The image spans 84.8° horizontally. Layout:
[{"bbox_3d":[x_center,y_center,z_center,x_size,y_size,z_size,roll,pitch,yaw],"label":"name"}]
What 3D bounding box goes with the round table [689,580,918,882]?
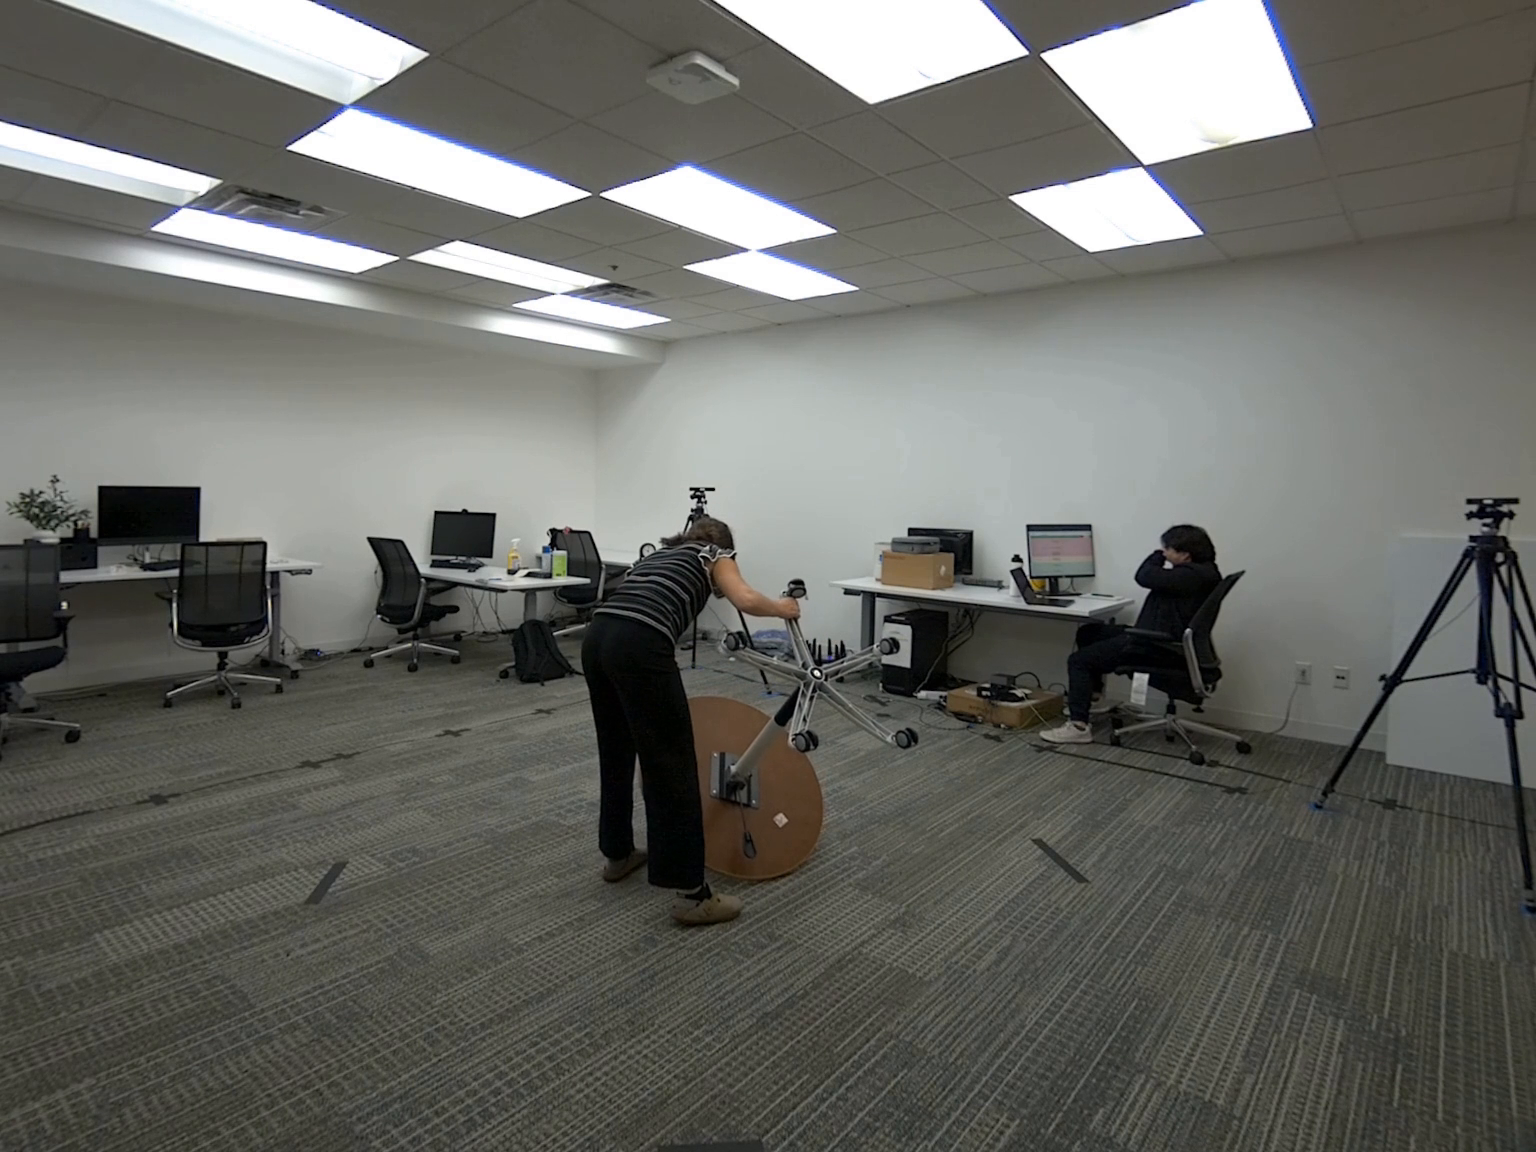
[{"bbox_3d":[0.020,0.530,3.038,0.748,0.788,0.786,18,39,-17],"label":"round table"}]
